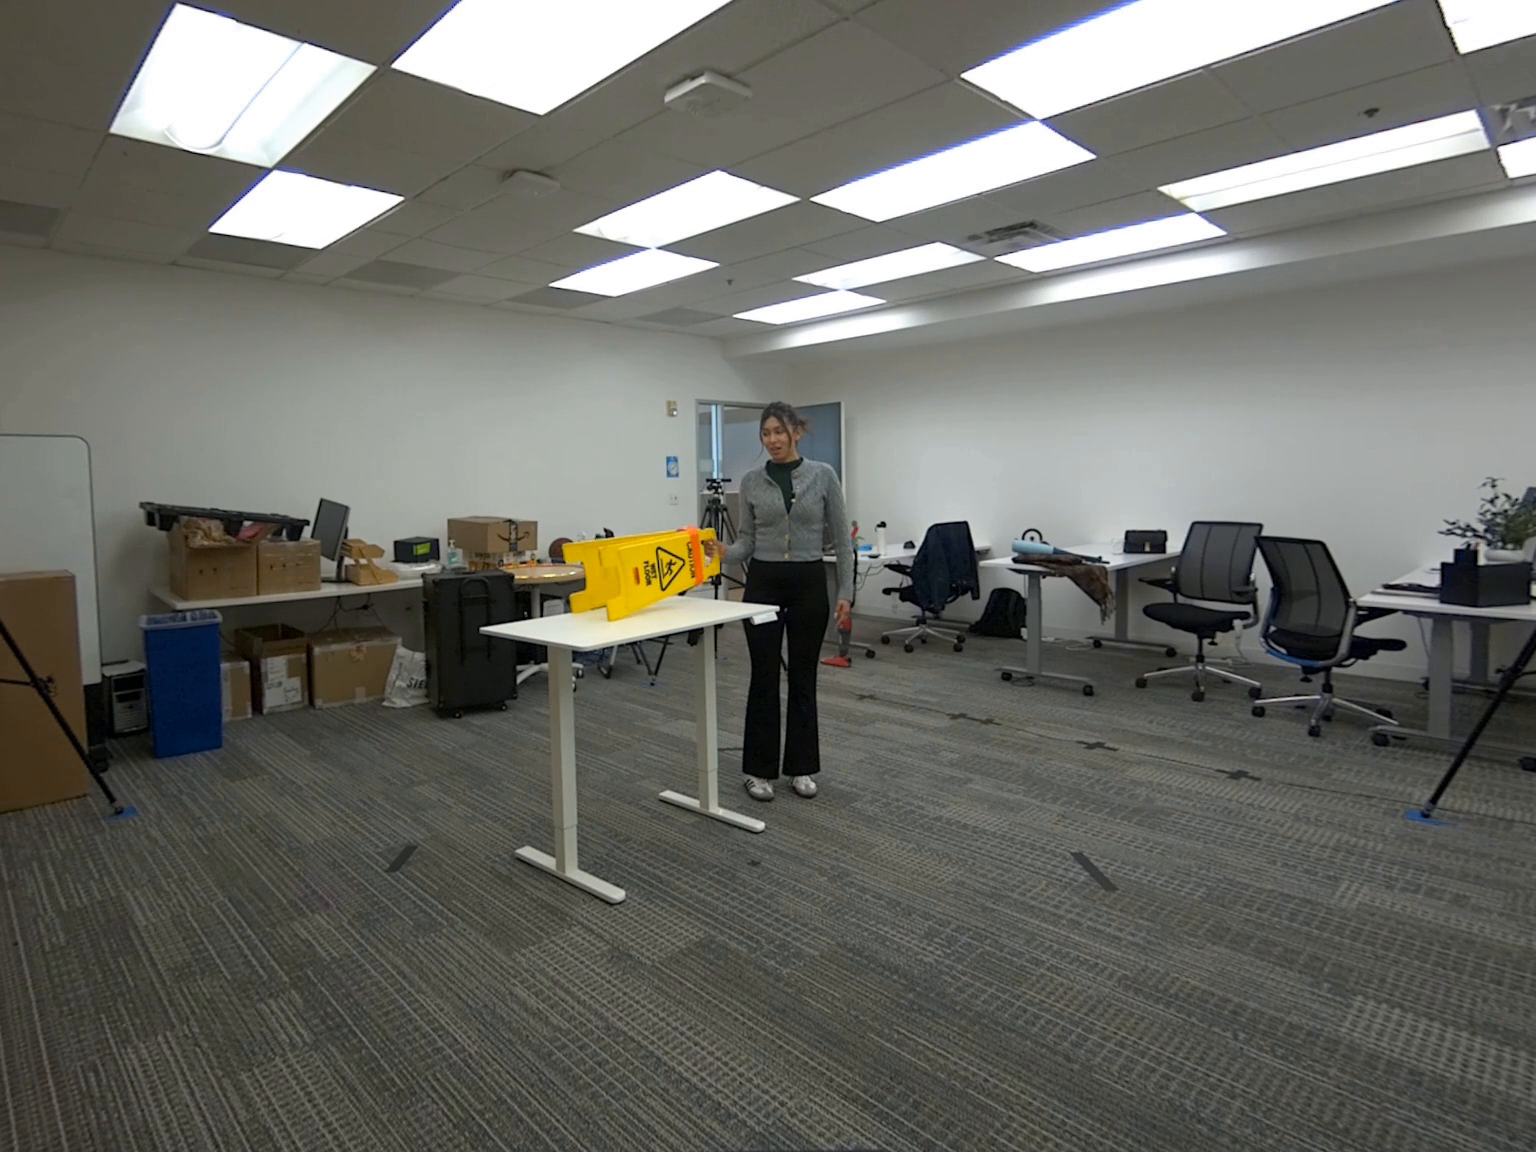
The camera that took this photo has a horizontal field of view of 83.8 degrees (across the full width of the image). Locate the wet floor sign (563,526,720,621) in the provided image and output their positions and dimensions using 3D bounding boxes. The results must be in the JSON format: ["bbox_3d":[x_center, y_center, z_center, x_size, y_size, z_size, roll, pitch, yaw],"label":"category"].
[{"bbox_3d":[-0.460,-0.039,3.444,0.633,0.280,0.298,-15,12,-39],"label":"wet floor sign"}]
